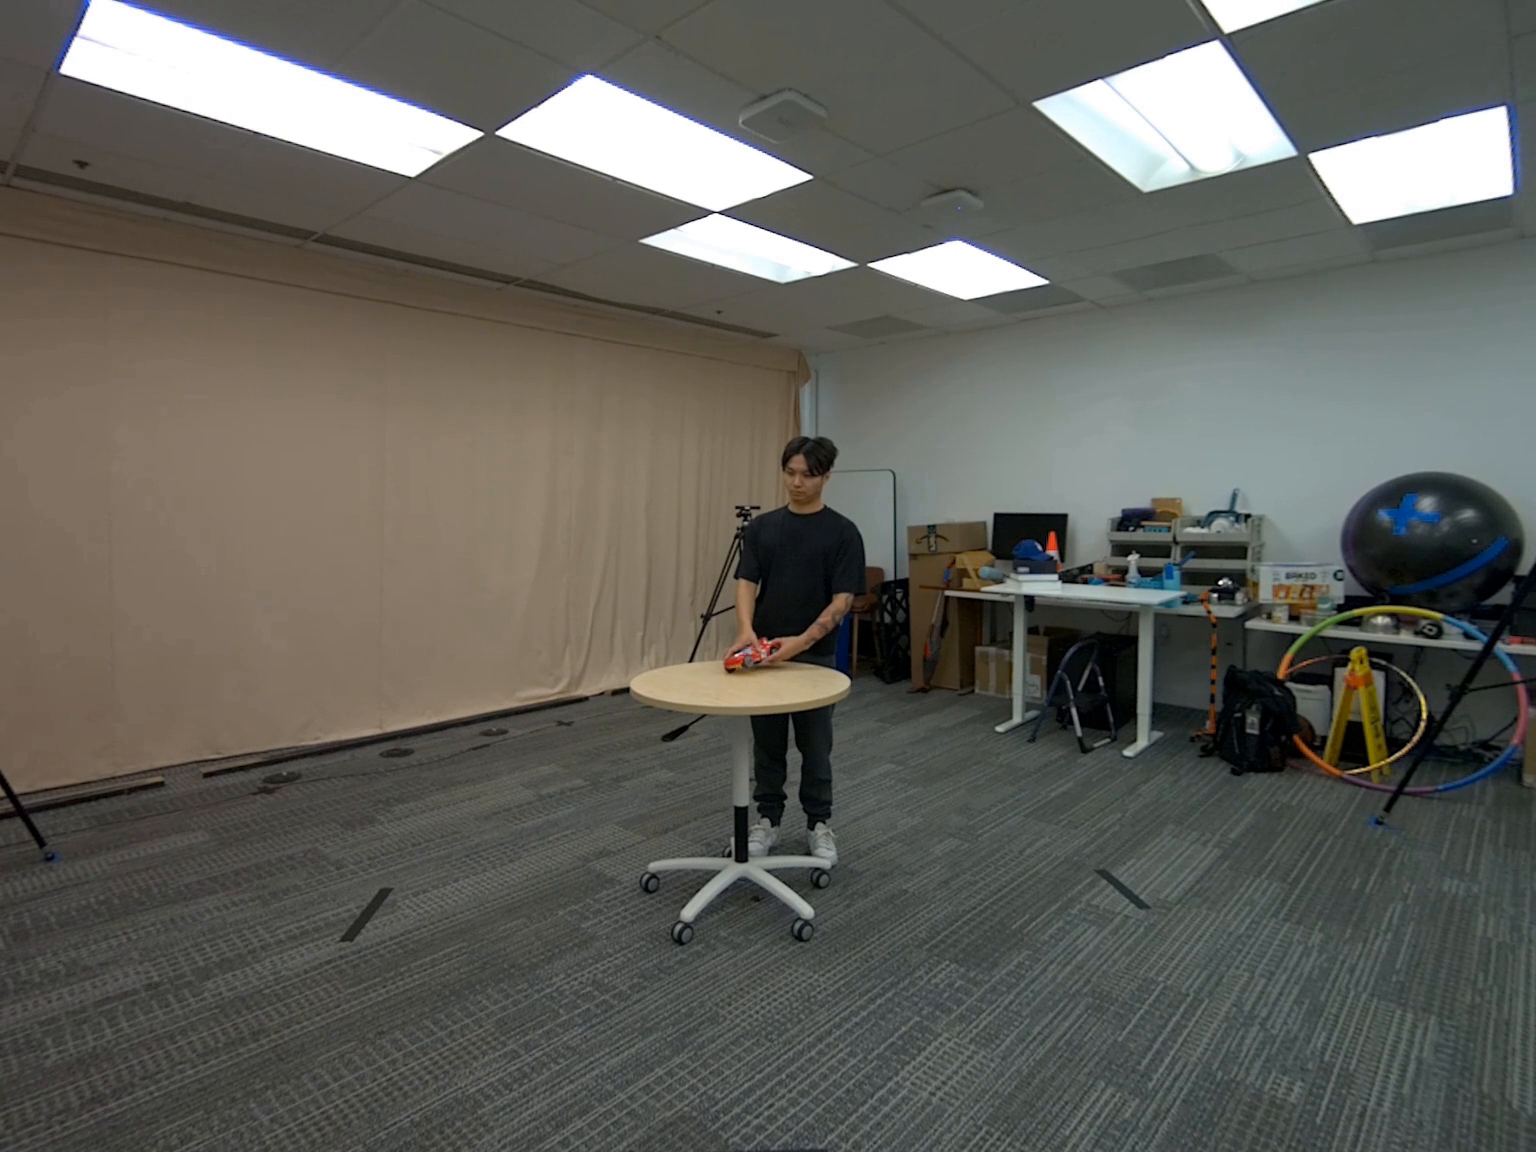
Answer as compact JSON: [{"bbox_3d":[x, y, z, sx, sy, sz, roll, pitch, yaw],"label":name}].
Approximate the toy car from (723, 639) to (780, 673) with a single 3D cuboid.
[{"bbox_3d":[-0.048,0.297,3.119,0.133,0.083,0.249,-21,4,43],"label":"toy car"}]
